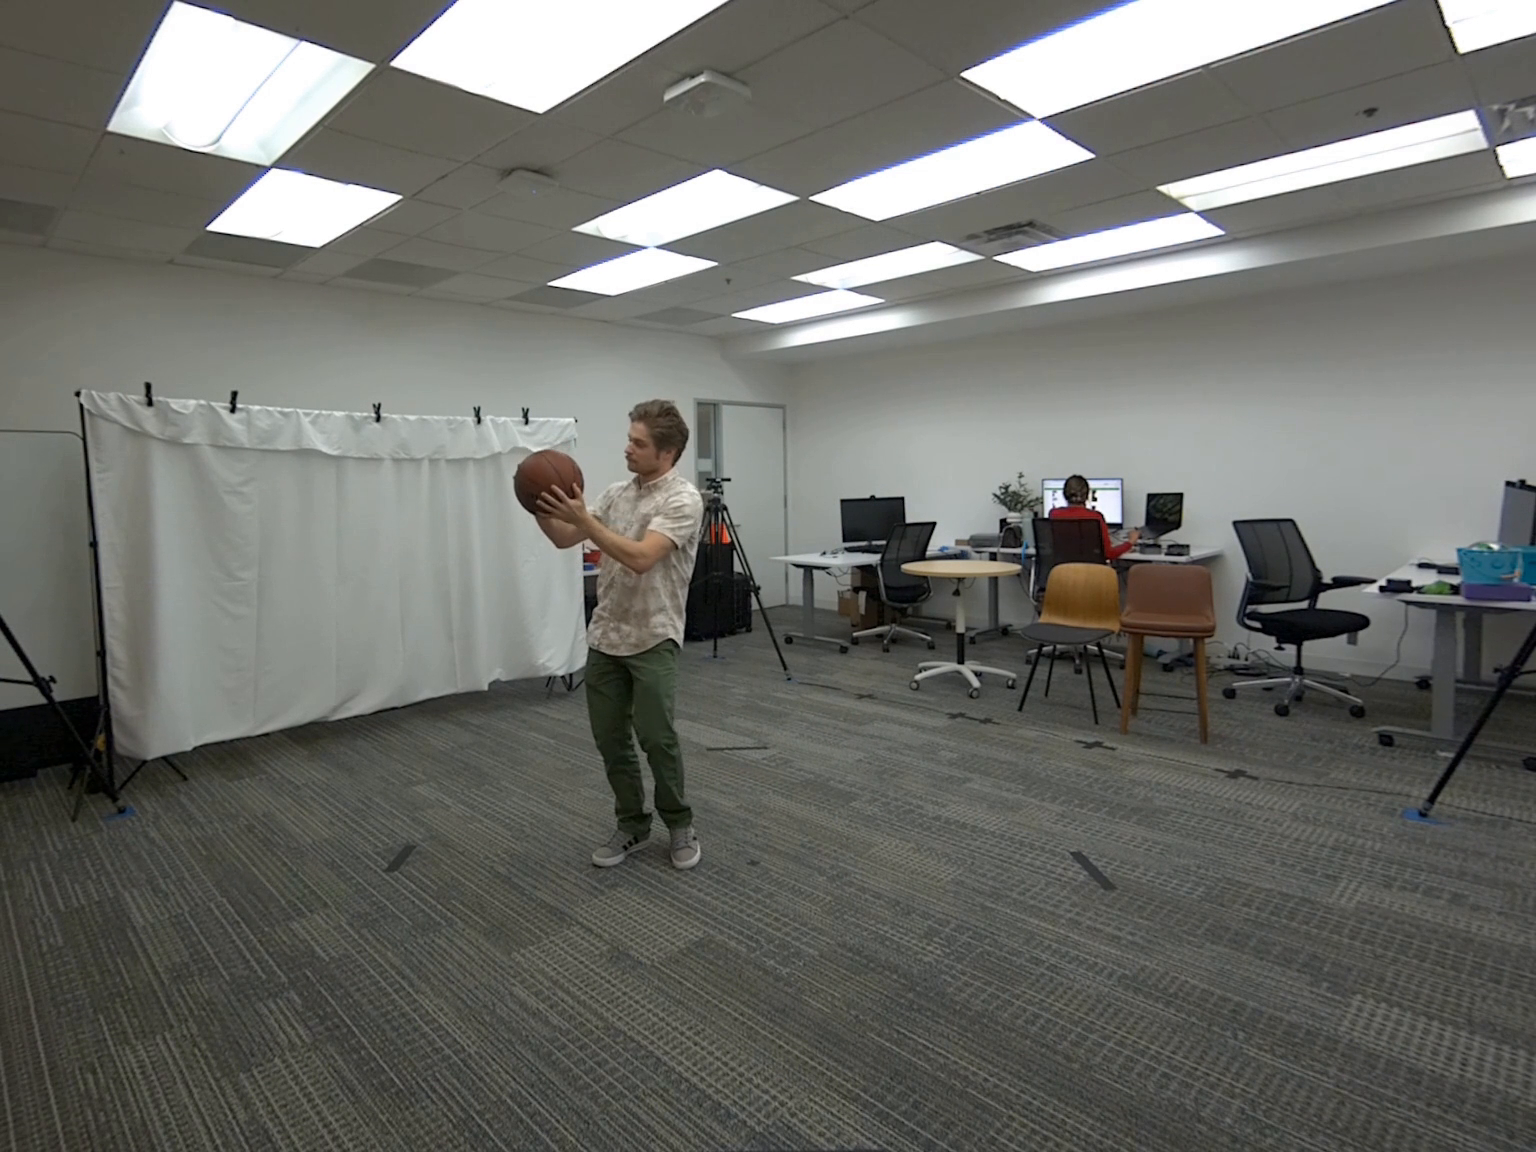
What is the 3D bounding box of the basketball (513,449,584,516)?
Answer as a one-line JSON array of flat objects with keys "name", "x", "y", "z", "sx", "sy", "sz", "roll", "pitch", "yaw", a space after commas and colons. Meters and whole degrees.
[{"name": "basketball", "x": -0.748, "y": -0.316, "z": 2.951, "sx": 0.236, "sy": 0.235, "sz": 0.237, "roll": -1, "pitch": 5, "yaw": -2}]
